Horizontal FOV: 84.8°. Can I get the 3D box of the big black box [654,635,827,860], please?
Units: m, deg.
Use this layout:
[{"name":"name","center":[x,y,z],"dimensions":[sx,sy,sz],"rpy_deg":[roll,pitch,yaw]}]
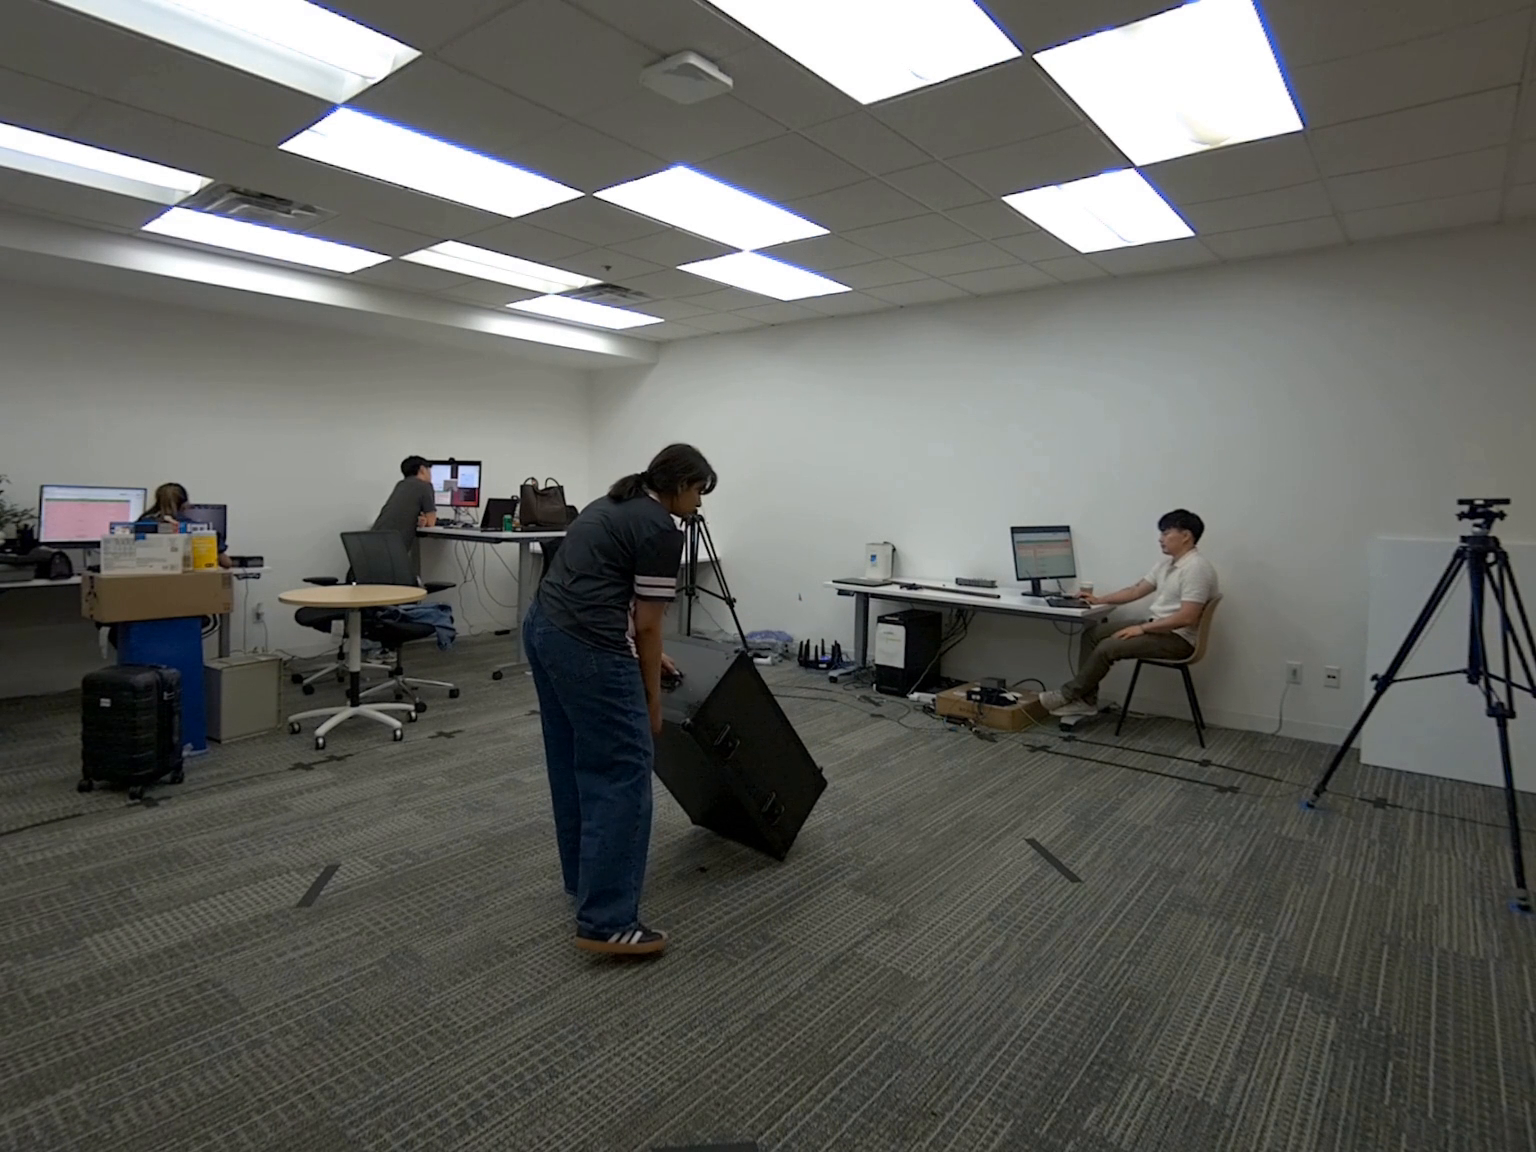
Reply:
[{"name":"big black box","center":[-0.190,0.654,3.242],"dimensions":[0.541,0.838,0.386],"rpy_deg":[3,45,42]}]
